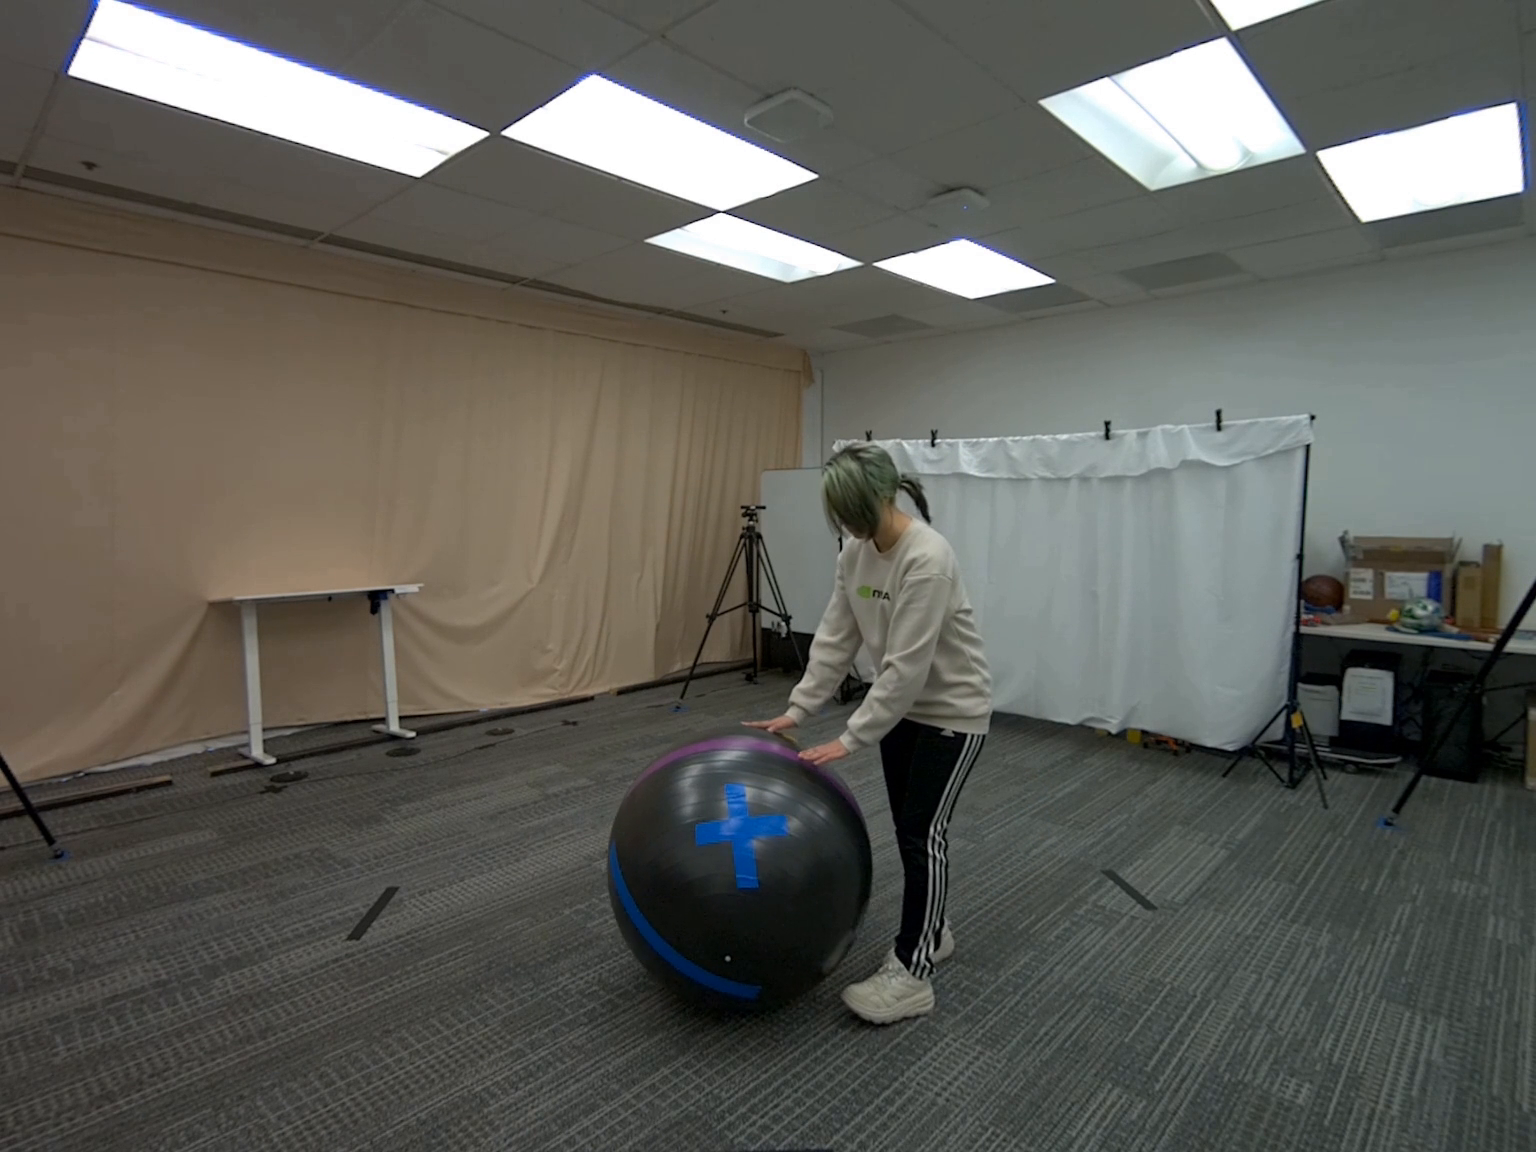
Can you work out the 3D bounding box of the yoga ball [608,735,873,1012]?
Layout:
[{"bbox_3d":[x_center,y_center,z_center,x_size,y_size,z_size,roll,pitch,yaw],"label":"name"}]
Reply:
[{"bbox_3d":[-0.087,0.824,2.413,0.757,0.756,0.760,0,4,-2],"label":"yoga ball"}]
